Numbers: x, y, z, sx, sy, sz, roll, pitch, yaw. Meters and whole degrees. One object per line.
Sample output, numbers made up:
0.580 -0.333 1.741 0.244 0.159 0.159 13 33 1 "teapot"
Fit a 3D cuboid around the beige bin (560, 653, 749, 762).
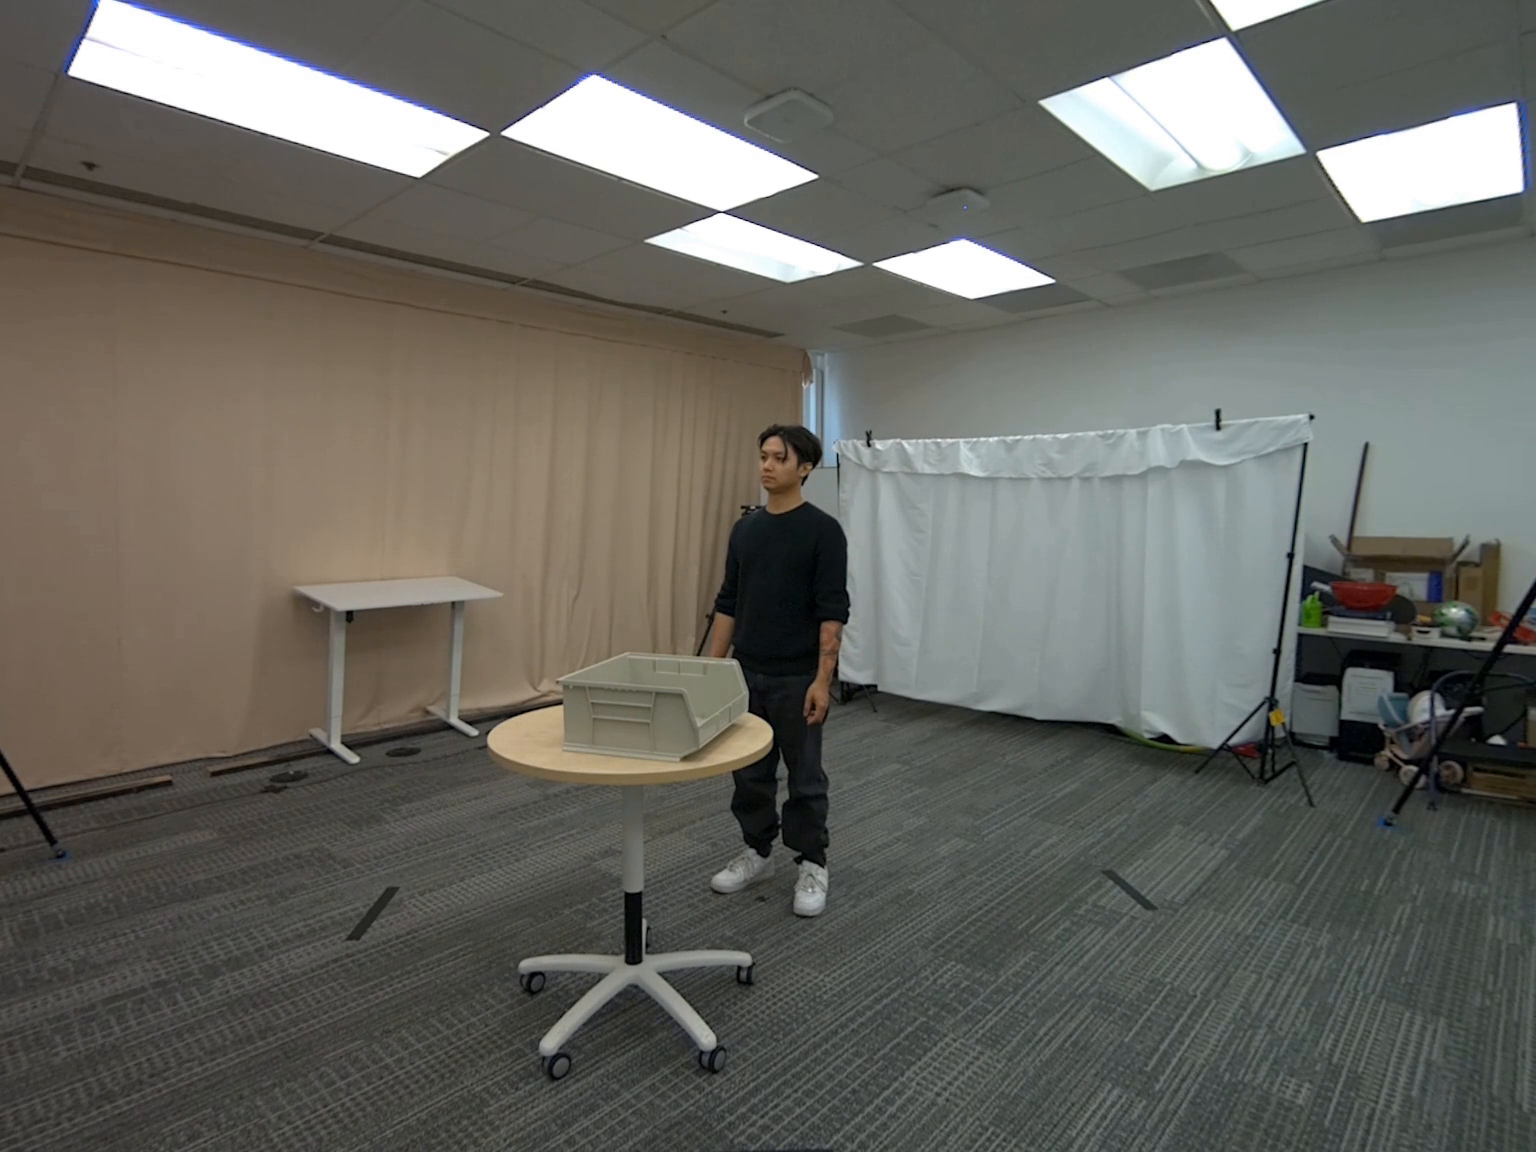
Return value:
-0.290 0.338 2.222 0.384 0.188 0.415 0 4 17 "beige bin"
